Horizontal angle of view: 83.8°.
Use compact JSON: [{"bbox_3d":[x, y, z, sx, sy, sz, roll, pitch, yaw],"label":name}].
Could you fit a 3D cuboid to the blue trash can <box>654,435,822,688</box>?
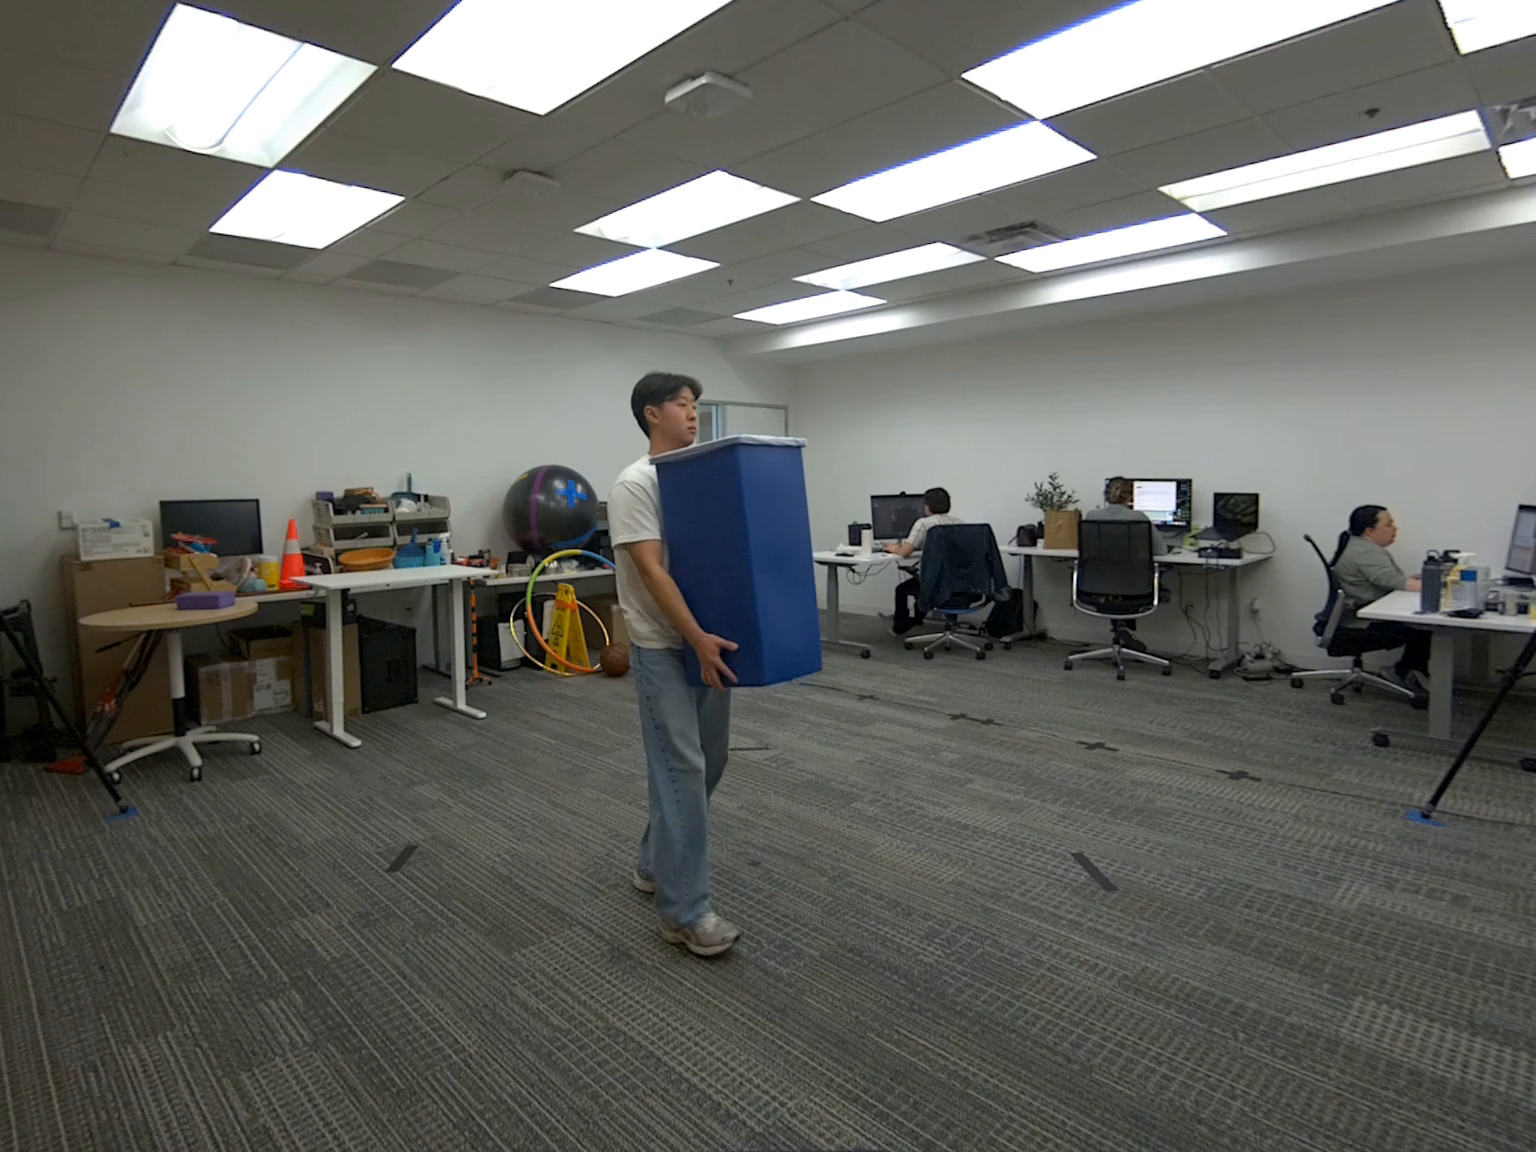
[{"bbox_3d":[-0.073,-0.043,2.614,0.387,0.716,0.364,-9,-4,39],"label":"blue trash can"}]
